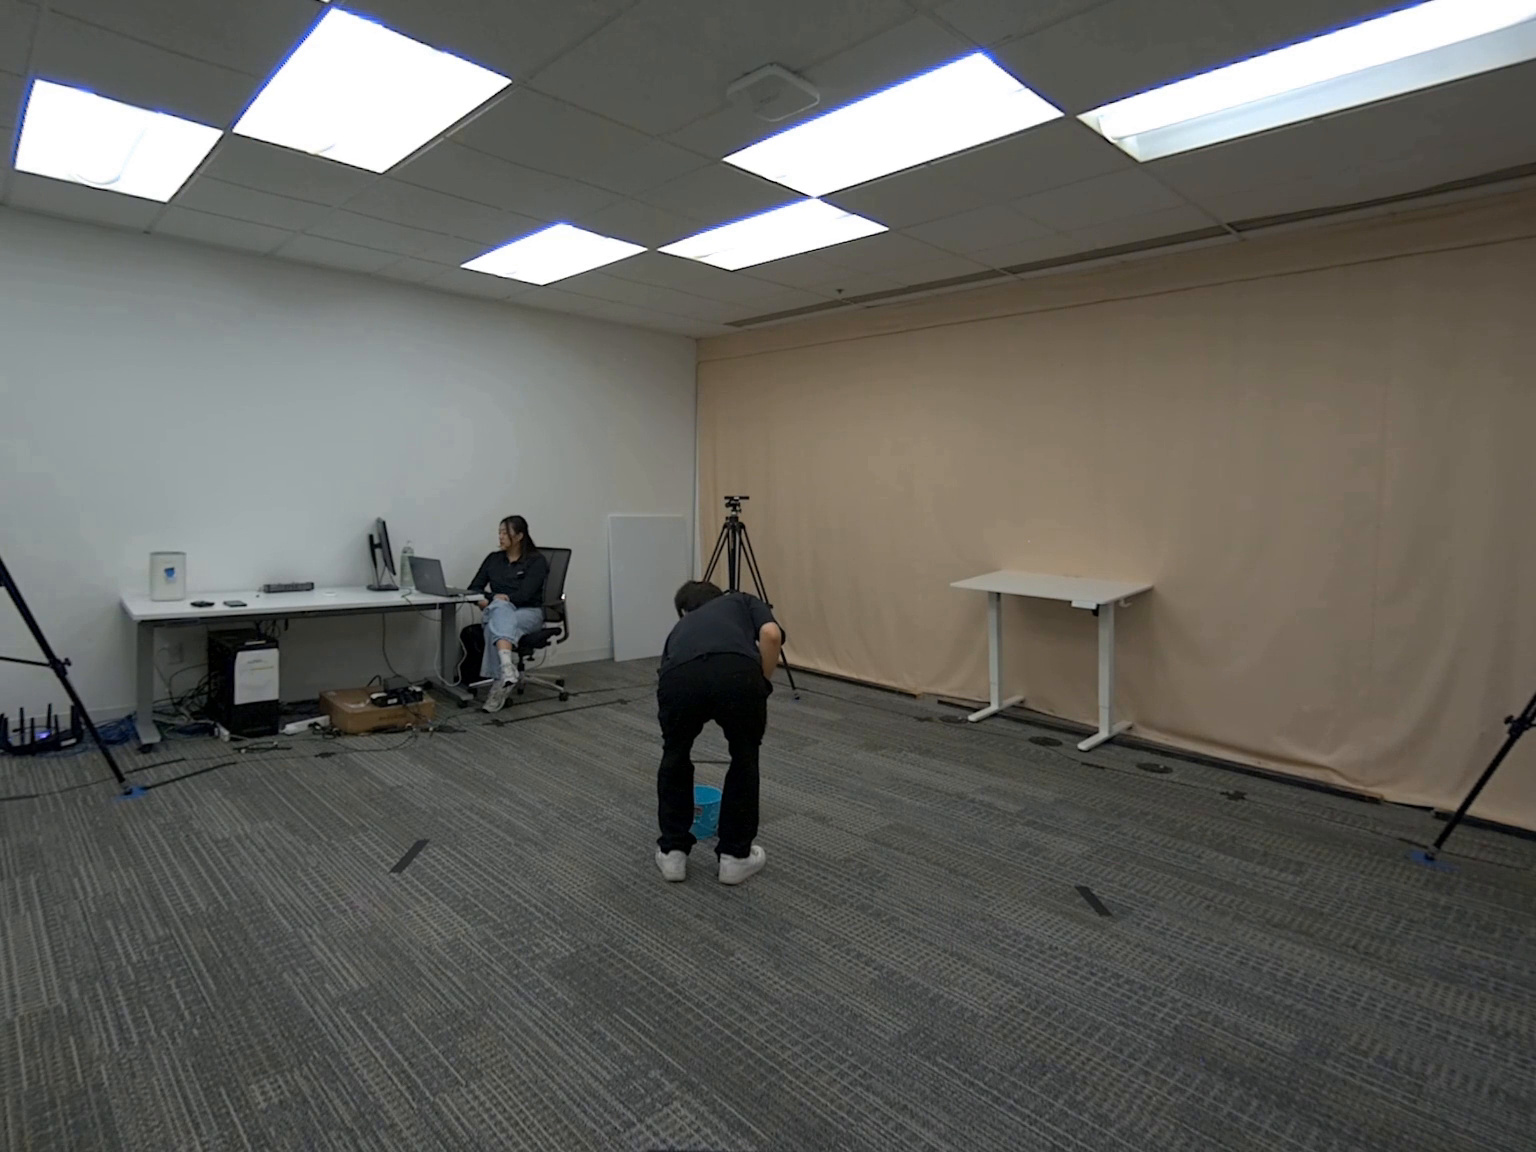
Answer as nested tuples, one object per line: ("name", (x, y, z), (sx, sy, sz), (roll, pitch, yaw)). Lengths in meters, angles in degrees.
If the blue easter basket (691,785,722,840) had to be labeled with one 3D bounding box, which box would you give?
("blue easter basket", (-0.309, 0.984, 3.516), (0.243, 0.155, 0.244), (2, 3, -1))
